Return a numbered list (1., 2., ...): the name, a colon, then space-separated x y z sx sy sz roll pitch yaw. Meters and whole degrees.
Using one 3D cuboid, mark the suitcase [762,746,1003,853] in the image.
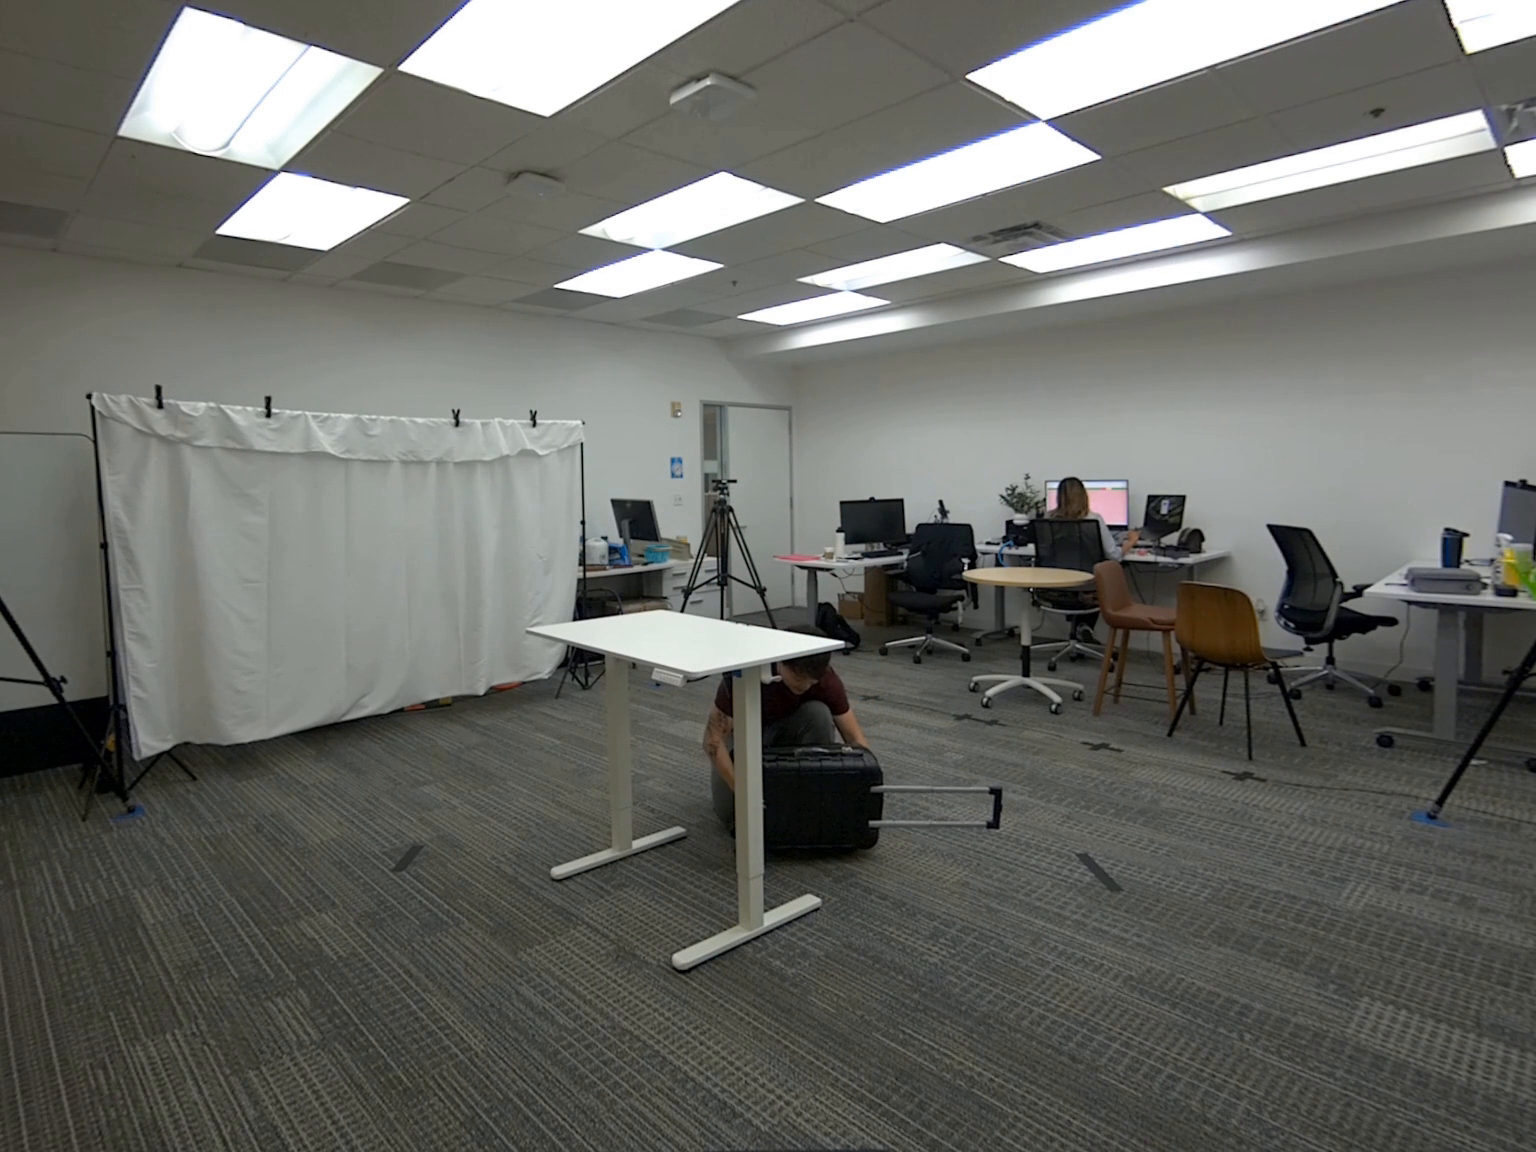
1. suitcase: 0.350 0.818 3.207 0.973 0.382 0.260 -1 5 -6
